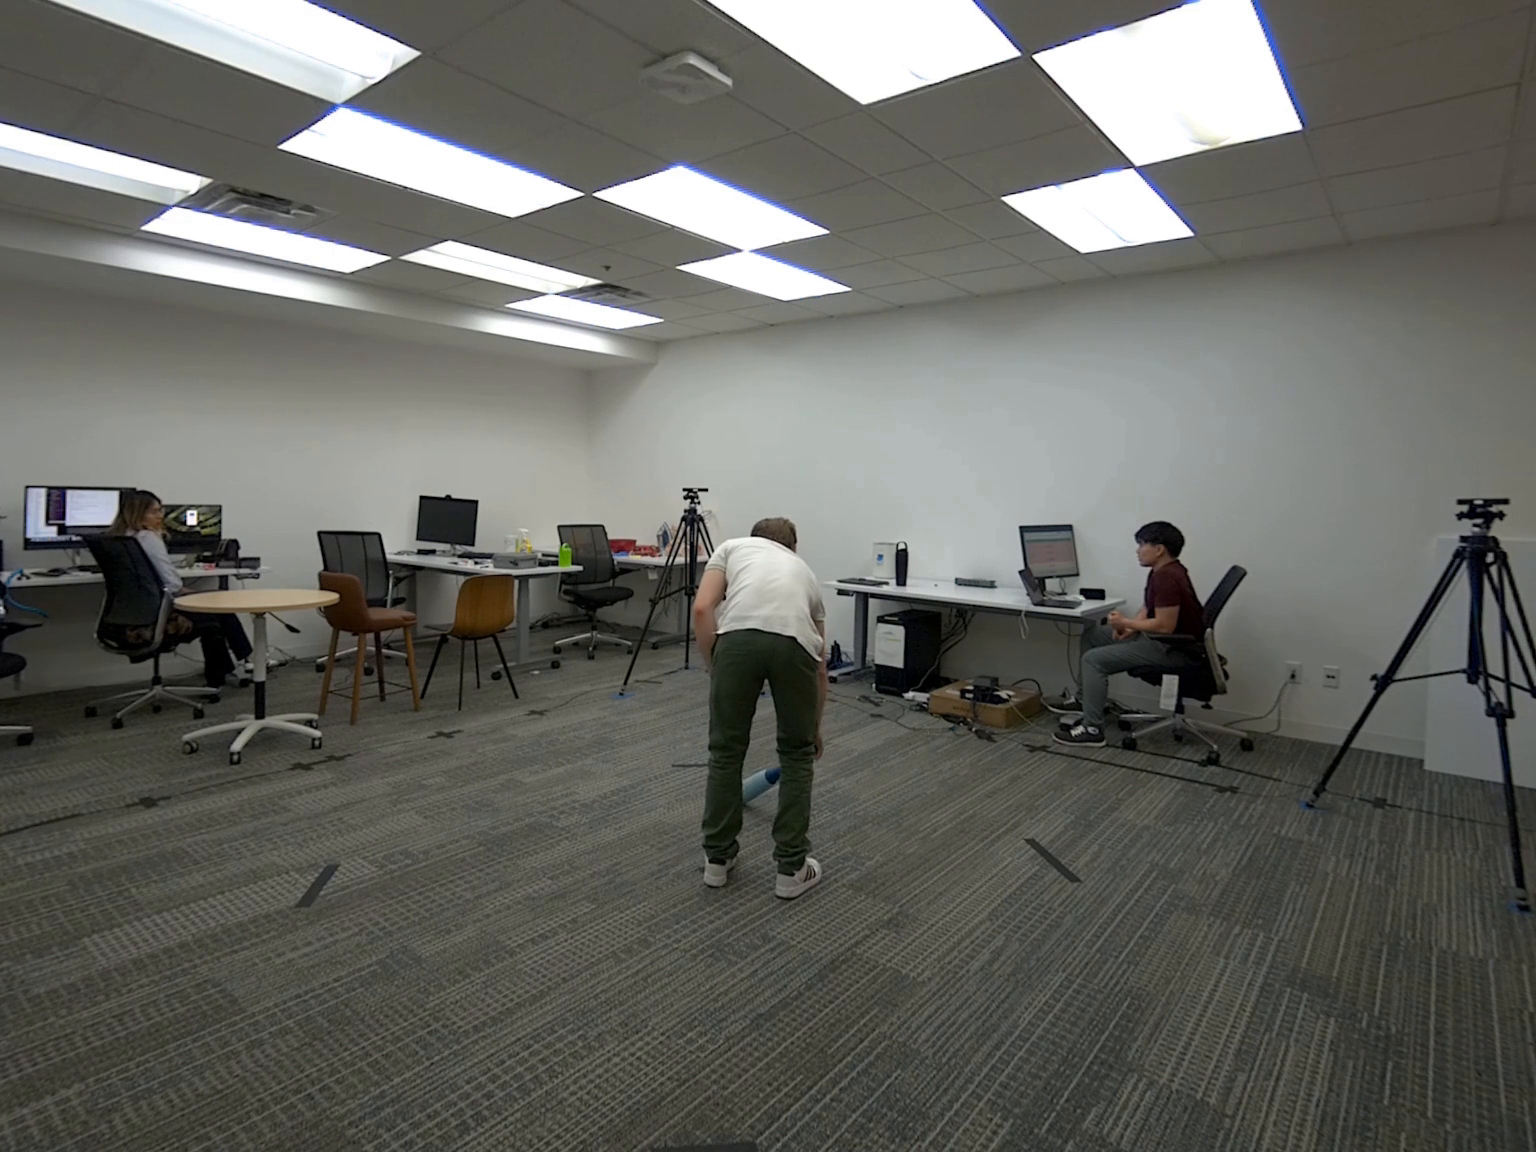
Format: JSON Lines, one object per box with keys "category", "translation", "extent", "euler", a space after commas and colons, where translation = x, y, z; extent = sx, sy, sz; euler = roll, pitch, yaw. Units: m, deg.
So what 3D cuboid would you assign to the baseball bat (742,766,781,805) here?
{"category": "baseball bat", "translation": [0.016, 0.848, 3.613], "extent": [0.086, 0.091, 0.546], "euler": [-3, -27, -48]}
